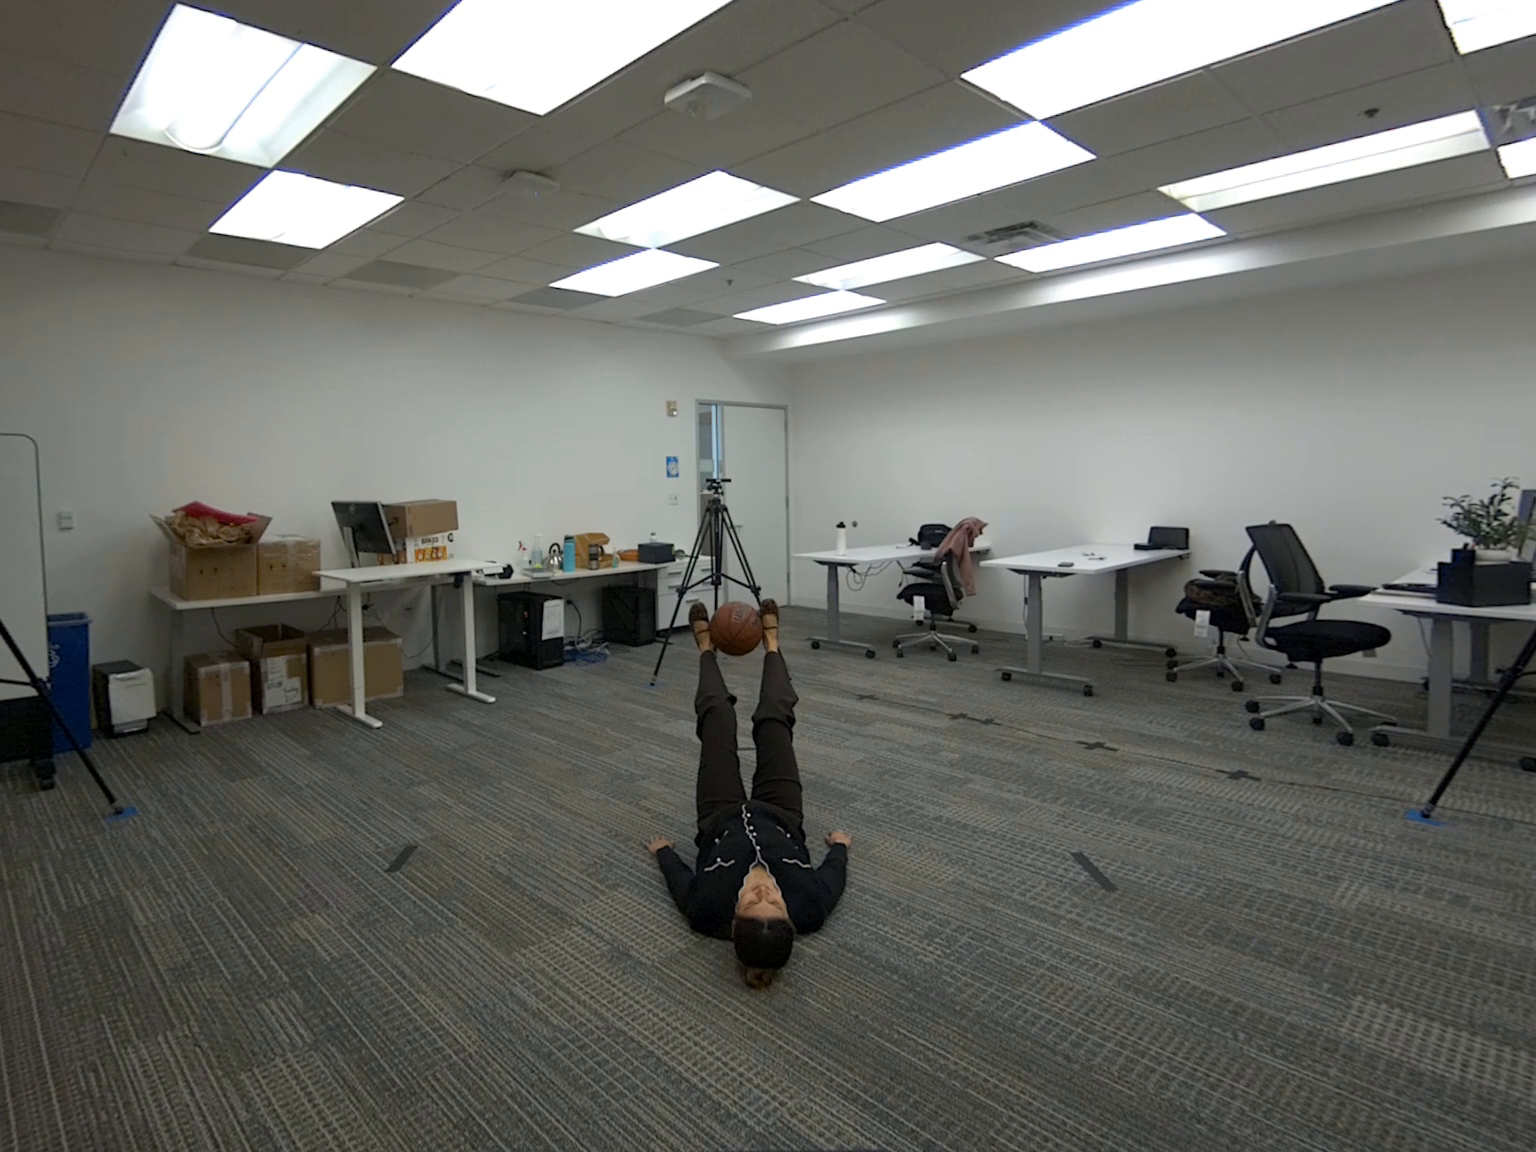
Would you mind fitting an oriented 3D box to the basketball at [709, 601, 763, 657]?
[{"bbox_3d":[-0.134,0.225,3.708,0.236,0.235,0.237,-4,4,-1],"label":"basketball"}]
